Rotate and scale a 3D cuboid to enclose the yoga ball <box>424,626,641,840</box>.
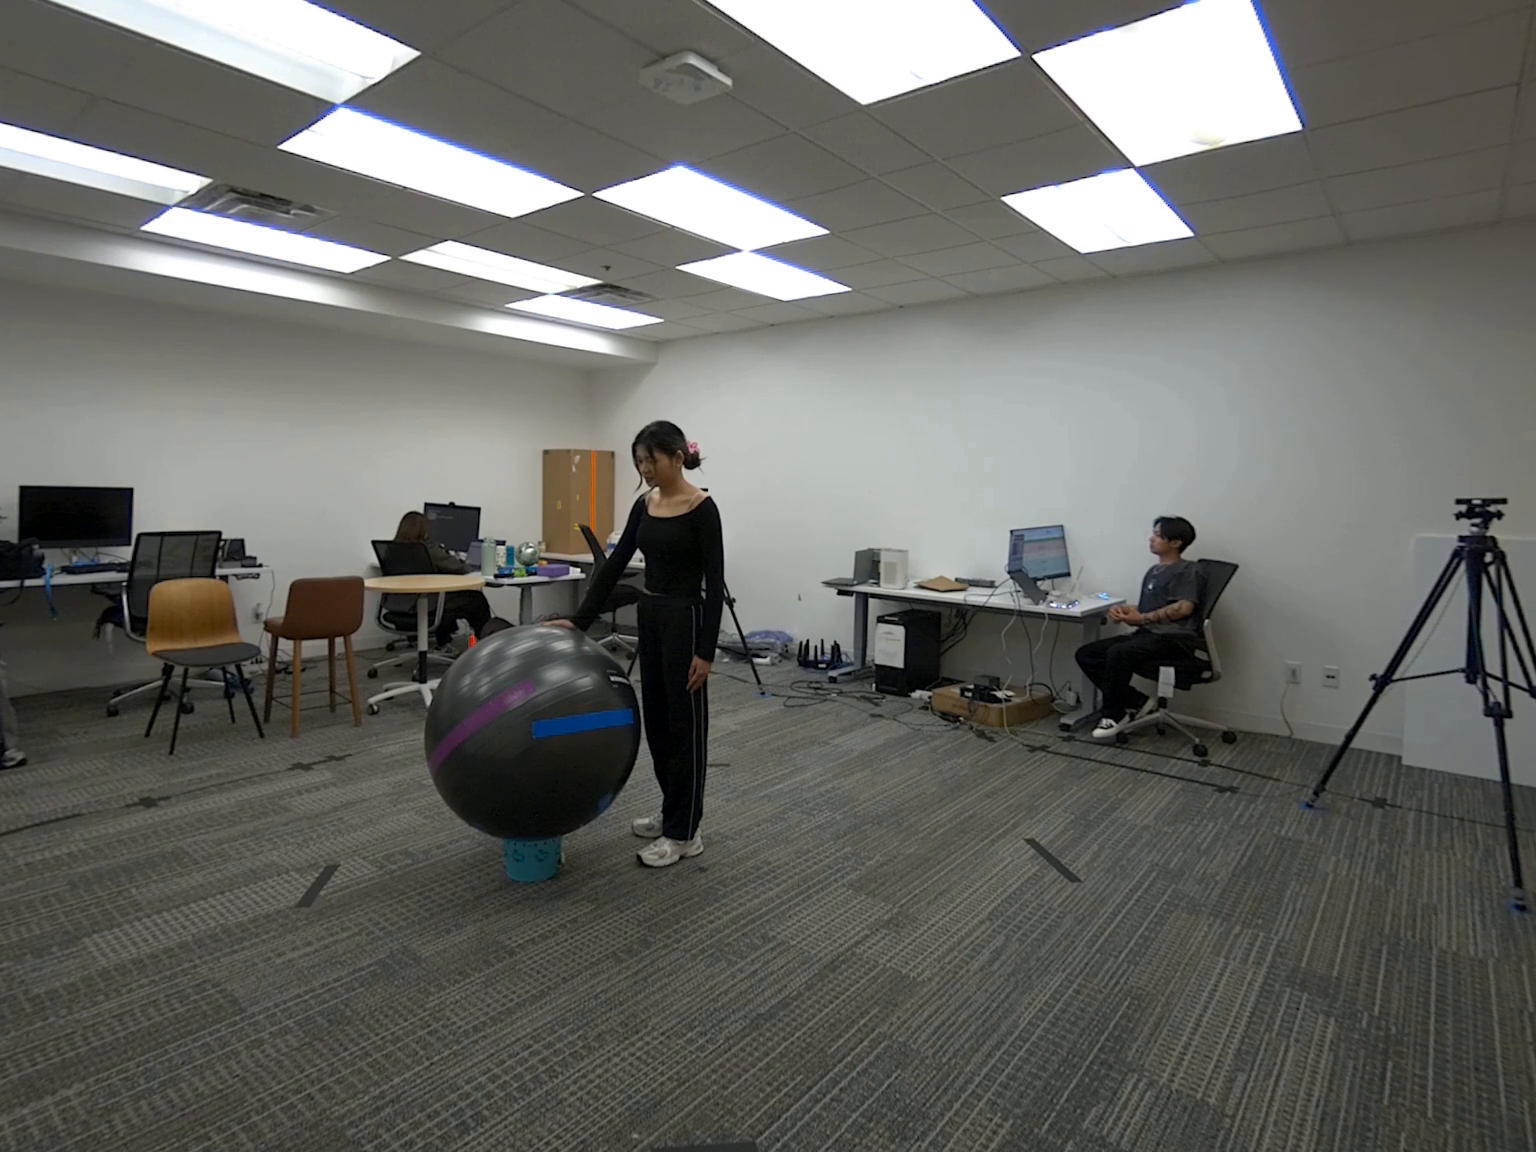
[{"bbox_3d":[-0.858,0.557,3.052,0.757,0.756,0.762,1,4,-2],"label":"yoga ball"}]
